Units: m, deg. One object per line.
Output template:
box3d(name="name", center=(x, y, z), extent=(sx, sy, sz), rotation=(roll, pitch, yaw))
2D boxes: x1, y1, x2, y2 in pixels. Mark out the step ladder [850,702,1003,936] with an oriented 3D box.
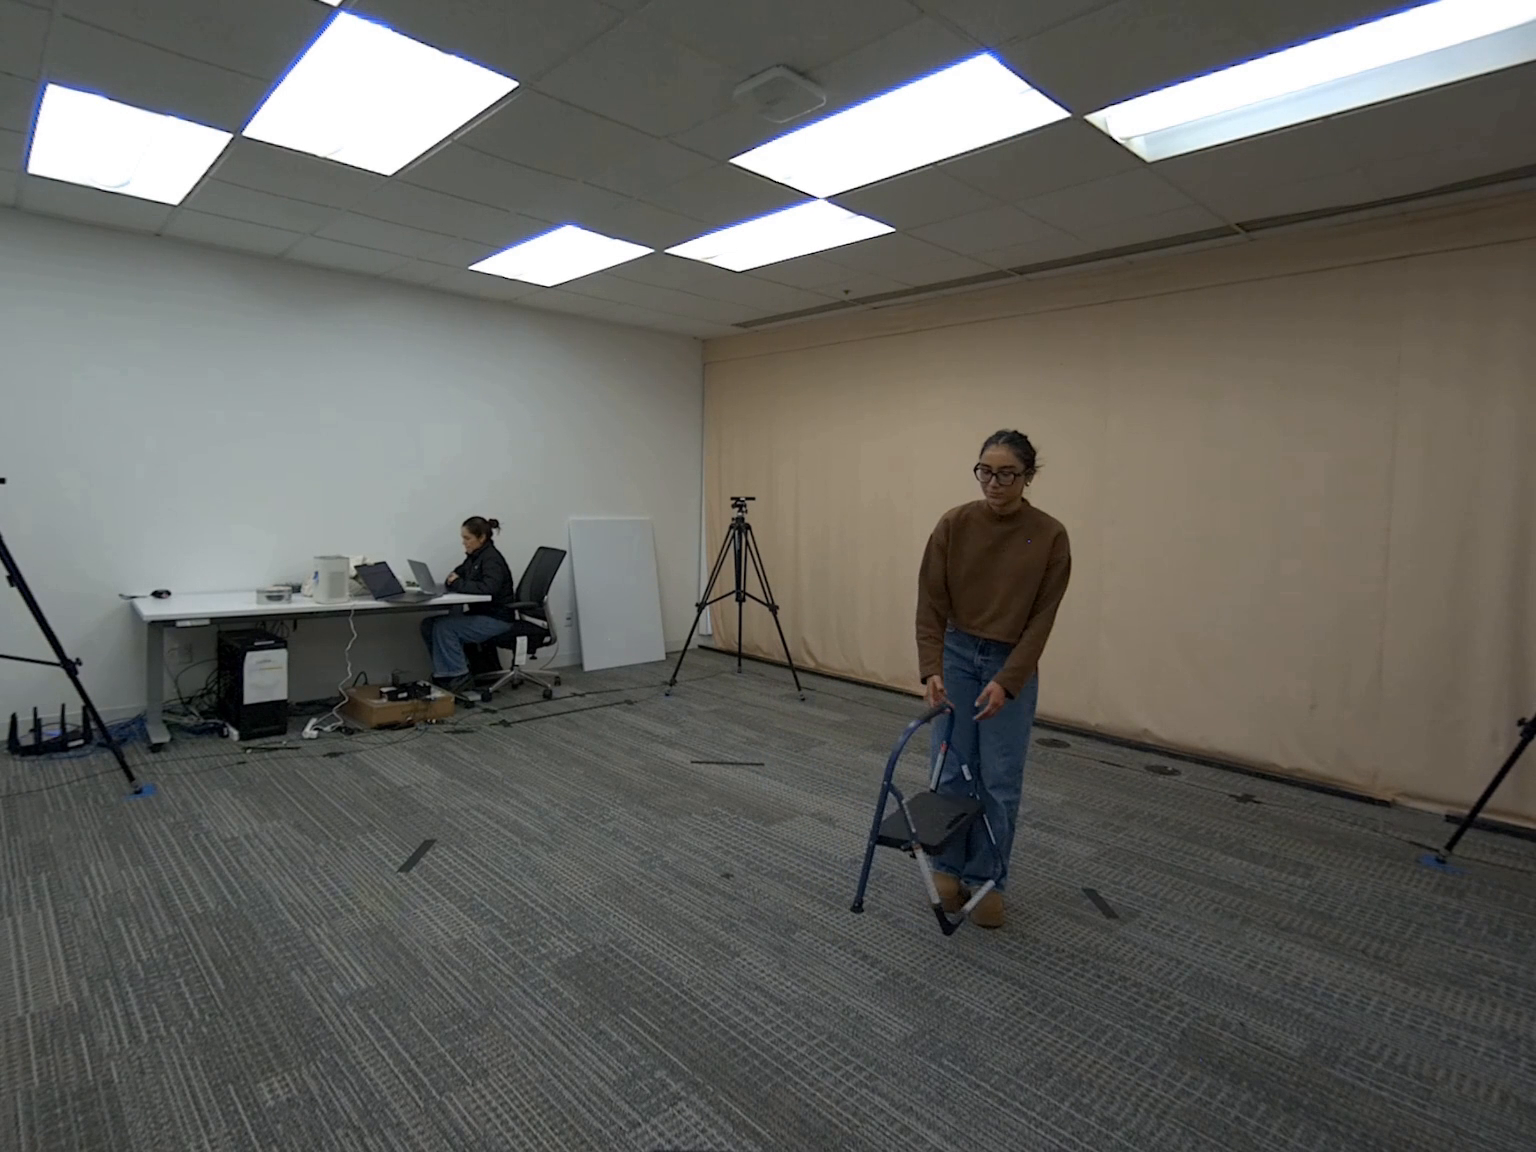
box3d(name="step ladder", center=(0.477, 0.727, 2.676), extent=(0.357, 0.604, 0.423), rotation=(-5, 6, 40))
